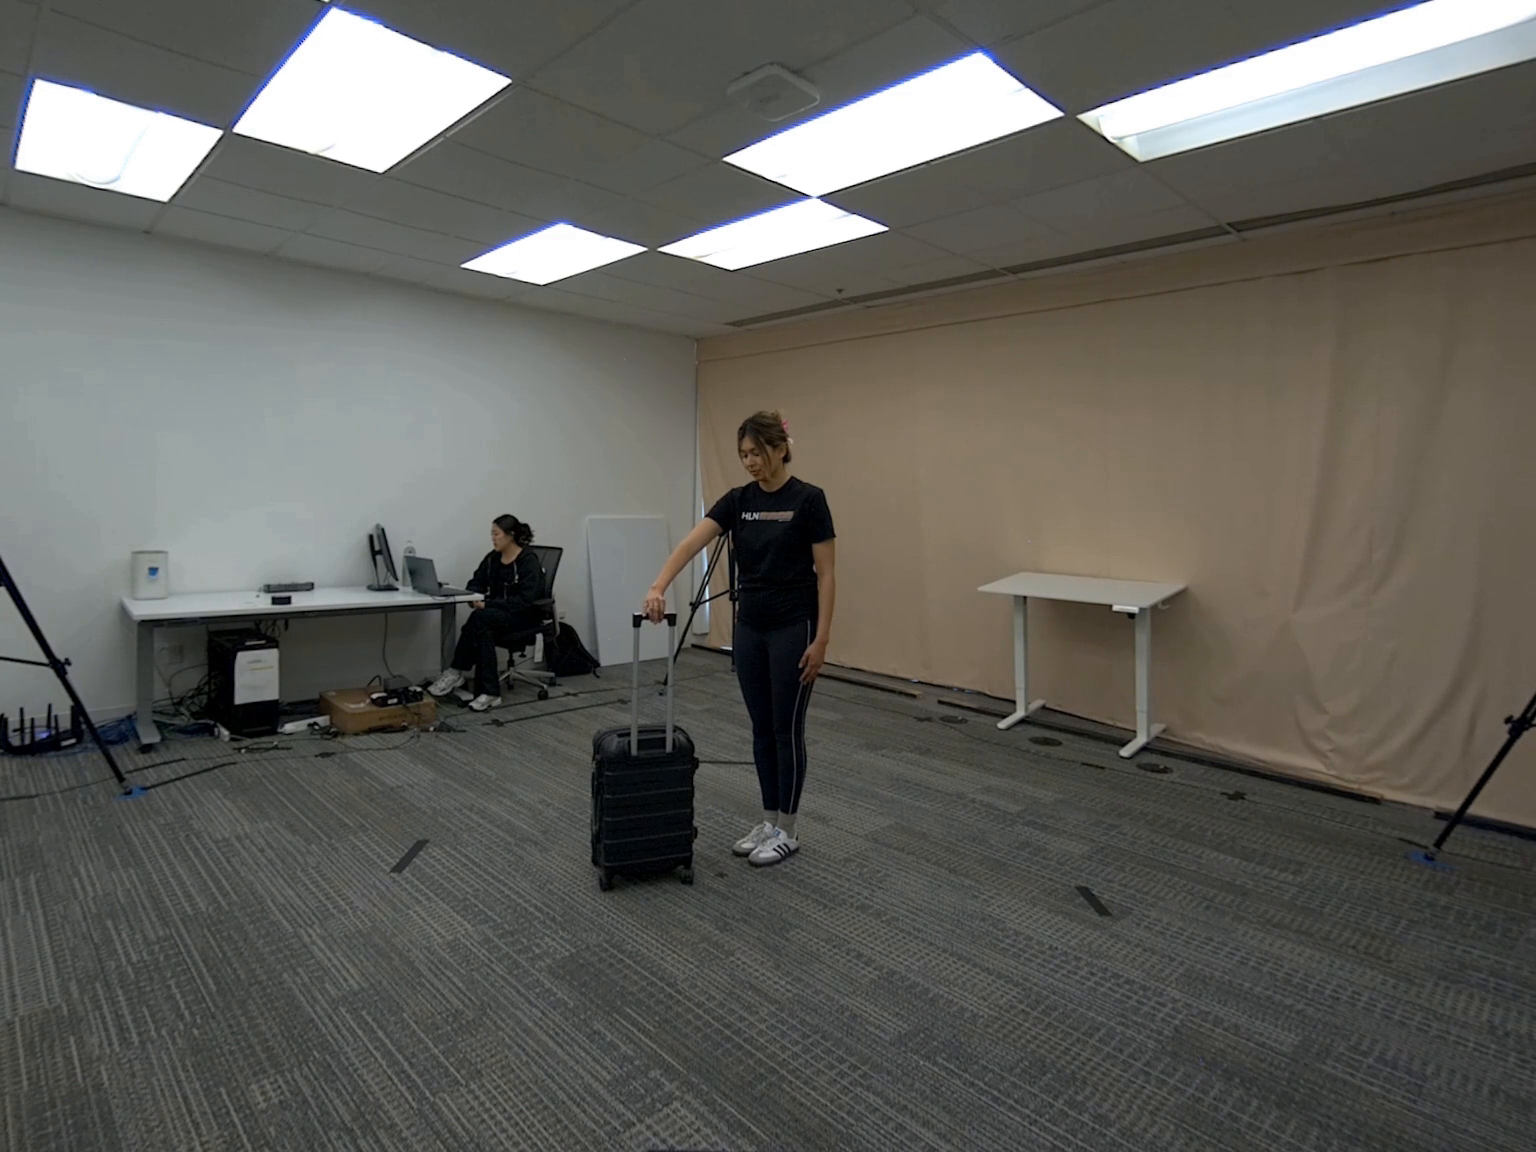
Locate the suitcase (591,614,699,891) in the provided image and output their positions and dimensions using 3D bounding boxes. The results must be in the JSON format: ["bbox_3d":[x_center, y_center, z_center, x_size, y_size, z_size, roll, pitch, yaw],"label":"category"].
[{"bbox_3d":[-0.462,0.626,3.070,0.379,0.977,0.261,1,2,-18],"label":"suitcase"}]
